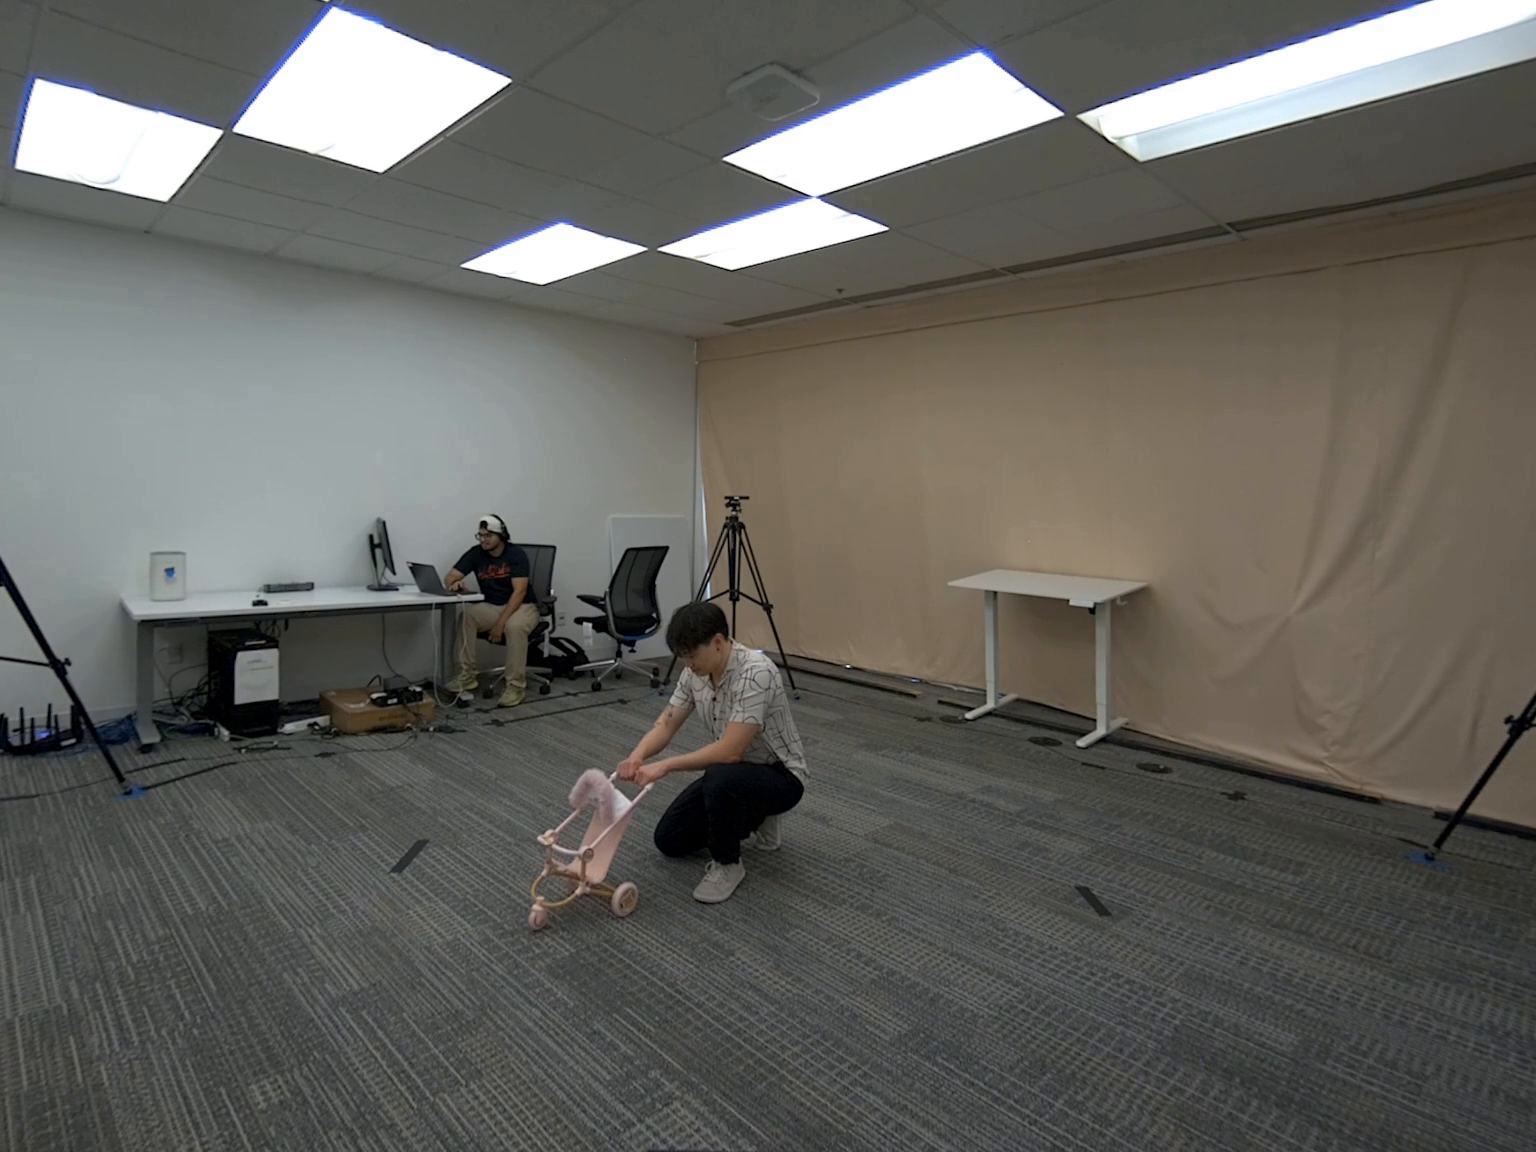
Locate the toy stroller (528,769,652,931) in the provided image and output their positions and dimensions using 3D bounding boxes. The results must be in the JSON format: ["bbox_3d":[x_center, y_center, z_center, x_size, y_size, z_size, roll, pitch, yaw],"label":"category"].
[{"bbox_3d":[-0.609,0.895,2.816,0.288,0.538,0.331,3,-13,45],"label":"toy stroller"}]
